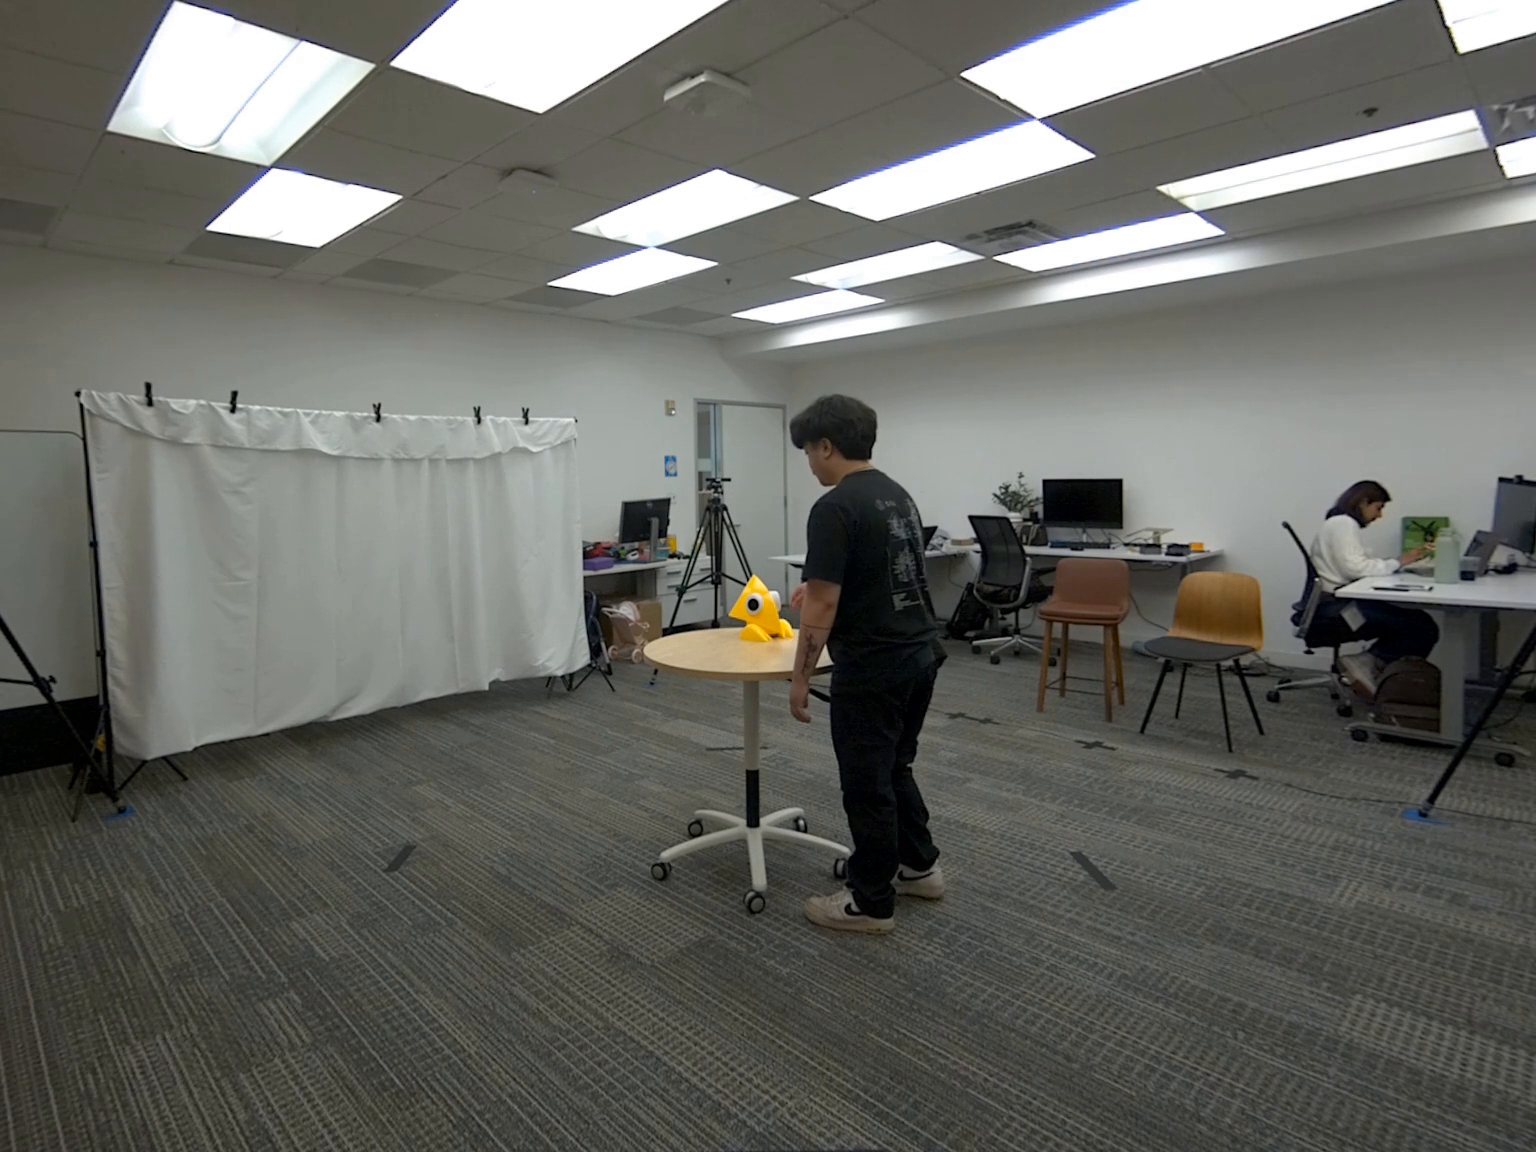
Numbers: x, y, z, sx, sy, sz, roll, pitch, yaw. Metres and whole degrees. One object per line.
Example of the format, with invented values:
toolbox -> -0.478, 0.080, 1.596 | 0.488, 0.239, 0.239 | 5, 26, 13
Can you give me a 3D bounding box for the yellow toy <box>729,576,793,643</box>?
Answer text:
yellow toy -> -0.011, 0.115, 3.246 | 0.199, 0.230, 0.199 | -4, 6, -38
